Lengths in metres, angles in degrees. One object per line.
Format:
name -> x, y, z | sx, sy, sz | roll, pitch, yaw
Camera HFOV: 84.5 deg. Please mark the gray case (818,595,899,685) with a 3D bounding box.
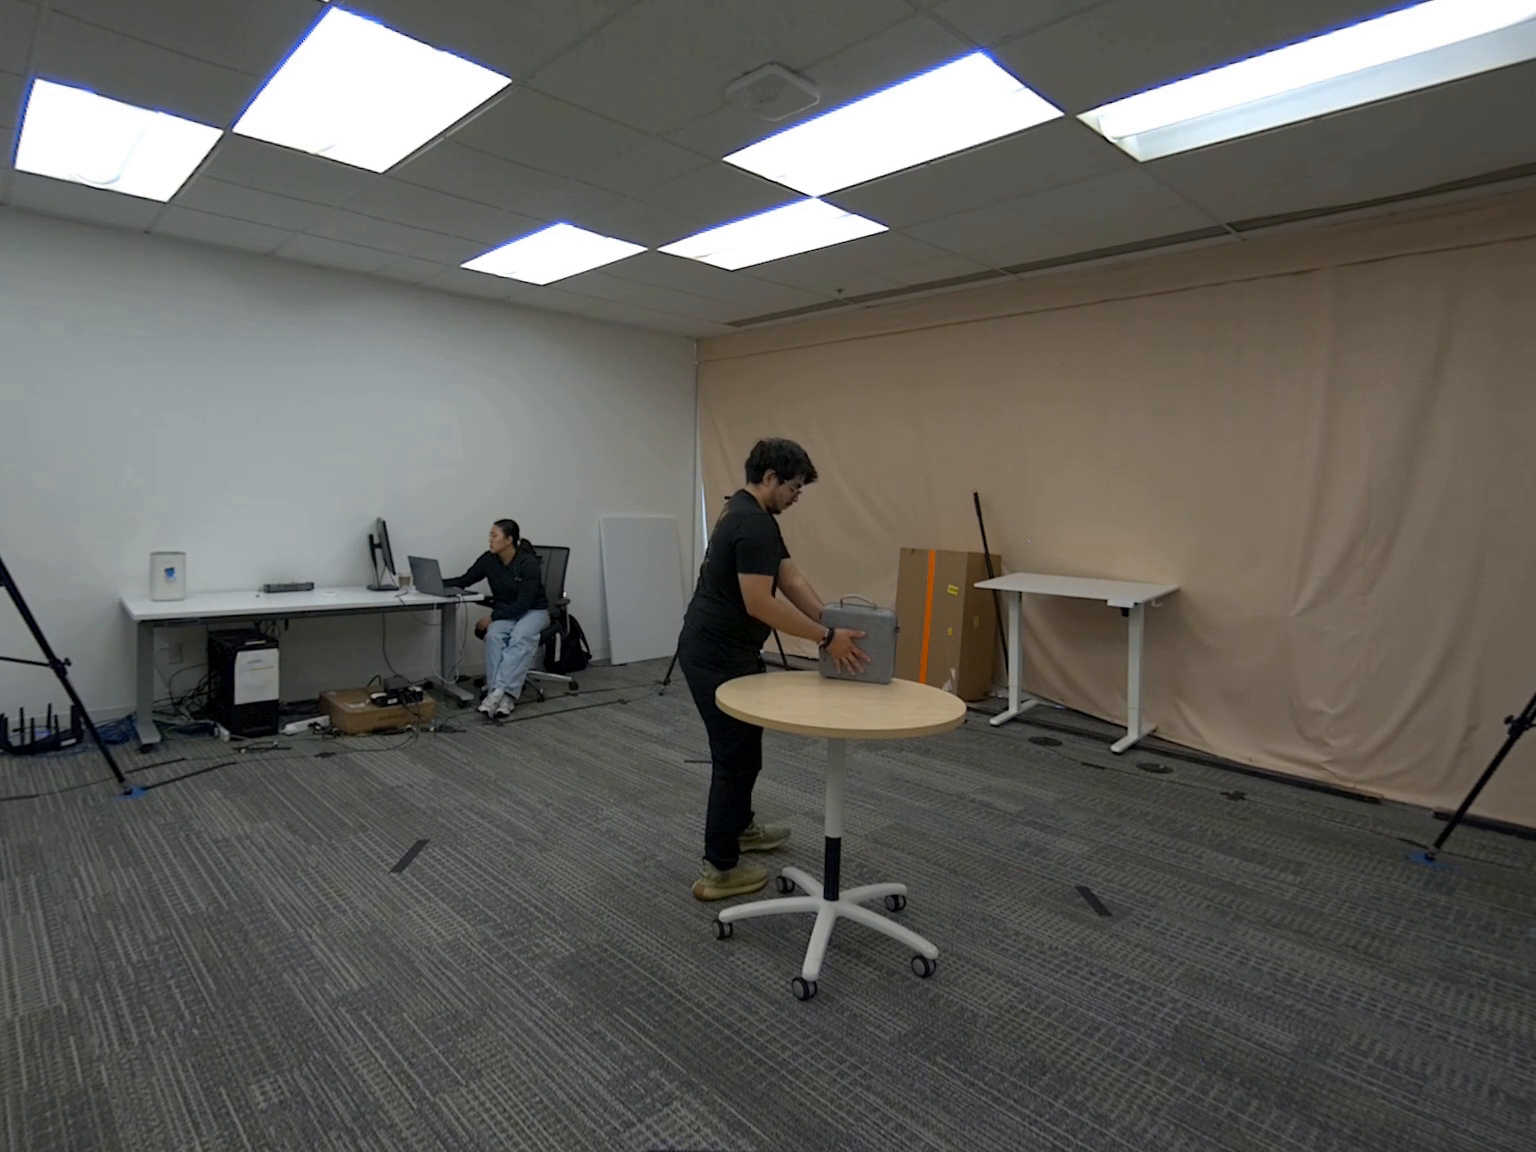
gray case -> 0.305, 0.228, 2.850 | 0.260, 0.257, 0.104 | 4, 17, 13
